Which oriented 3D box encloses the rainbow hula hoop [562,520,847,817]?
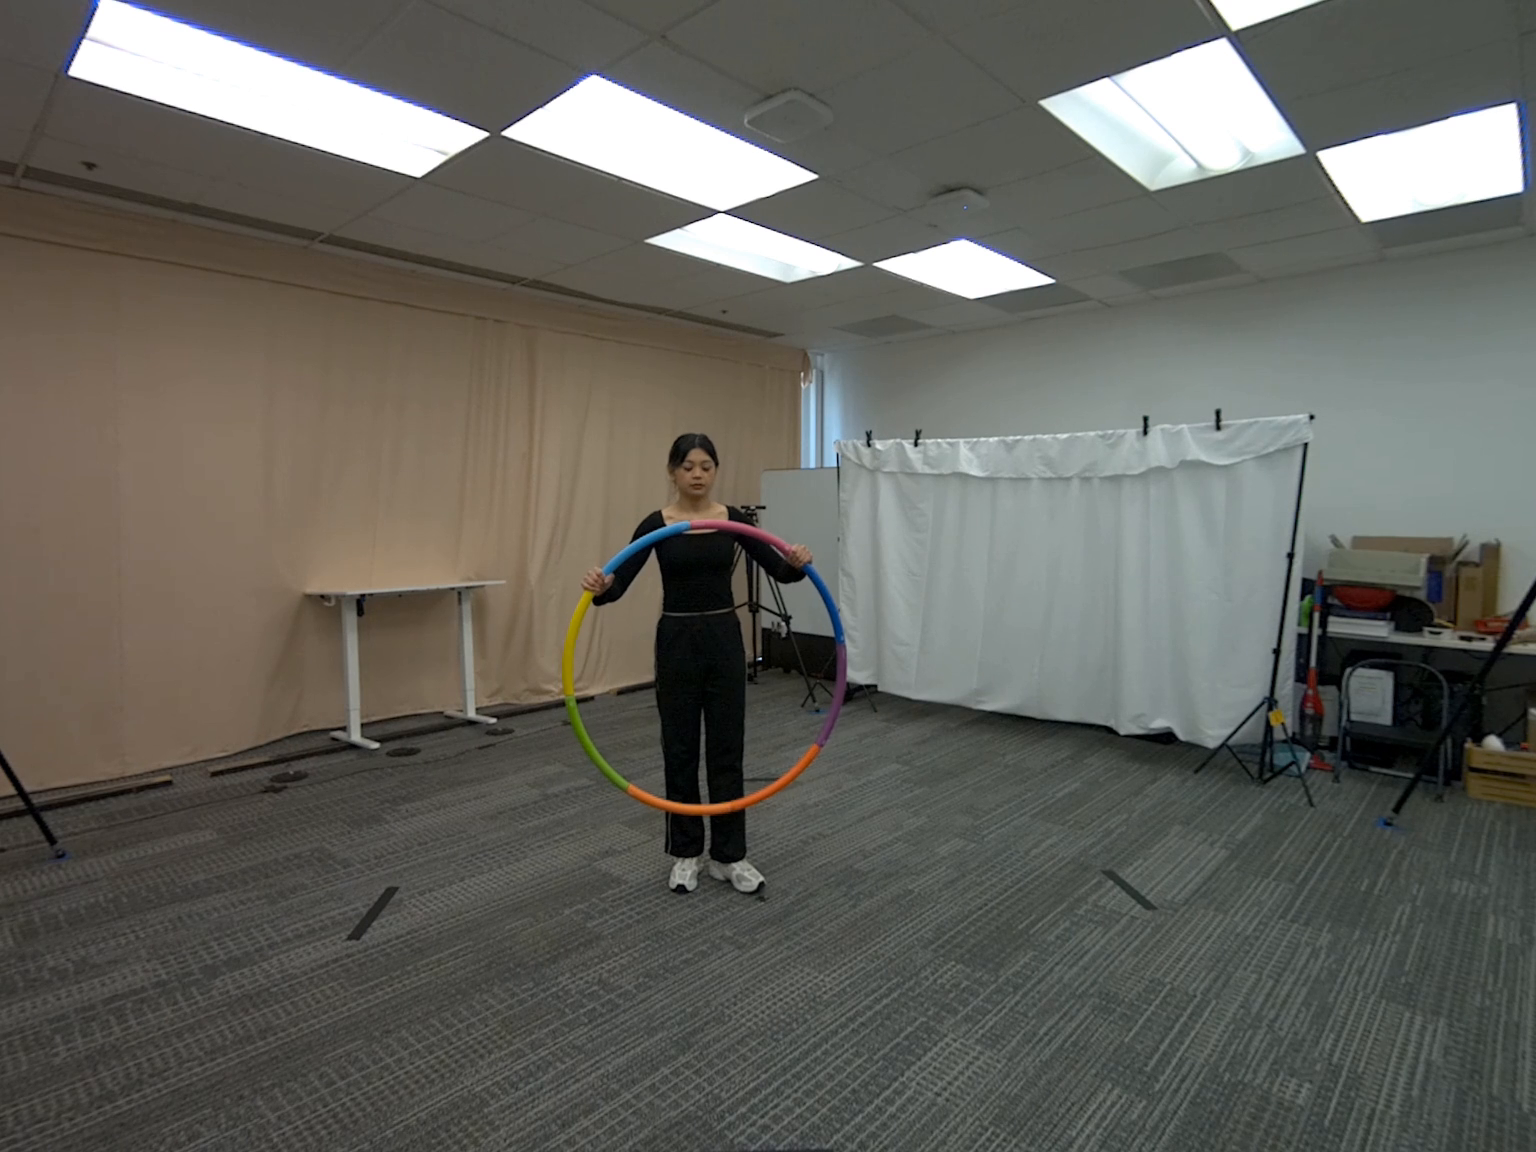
[{"bbox_3d":[-0.190,0.318,2.813,0.966,0.975,0.036,-1,5,-12],"label":"rainbow hula hoop"}]
